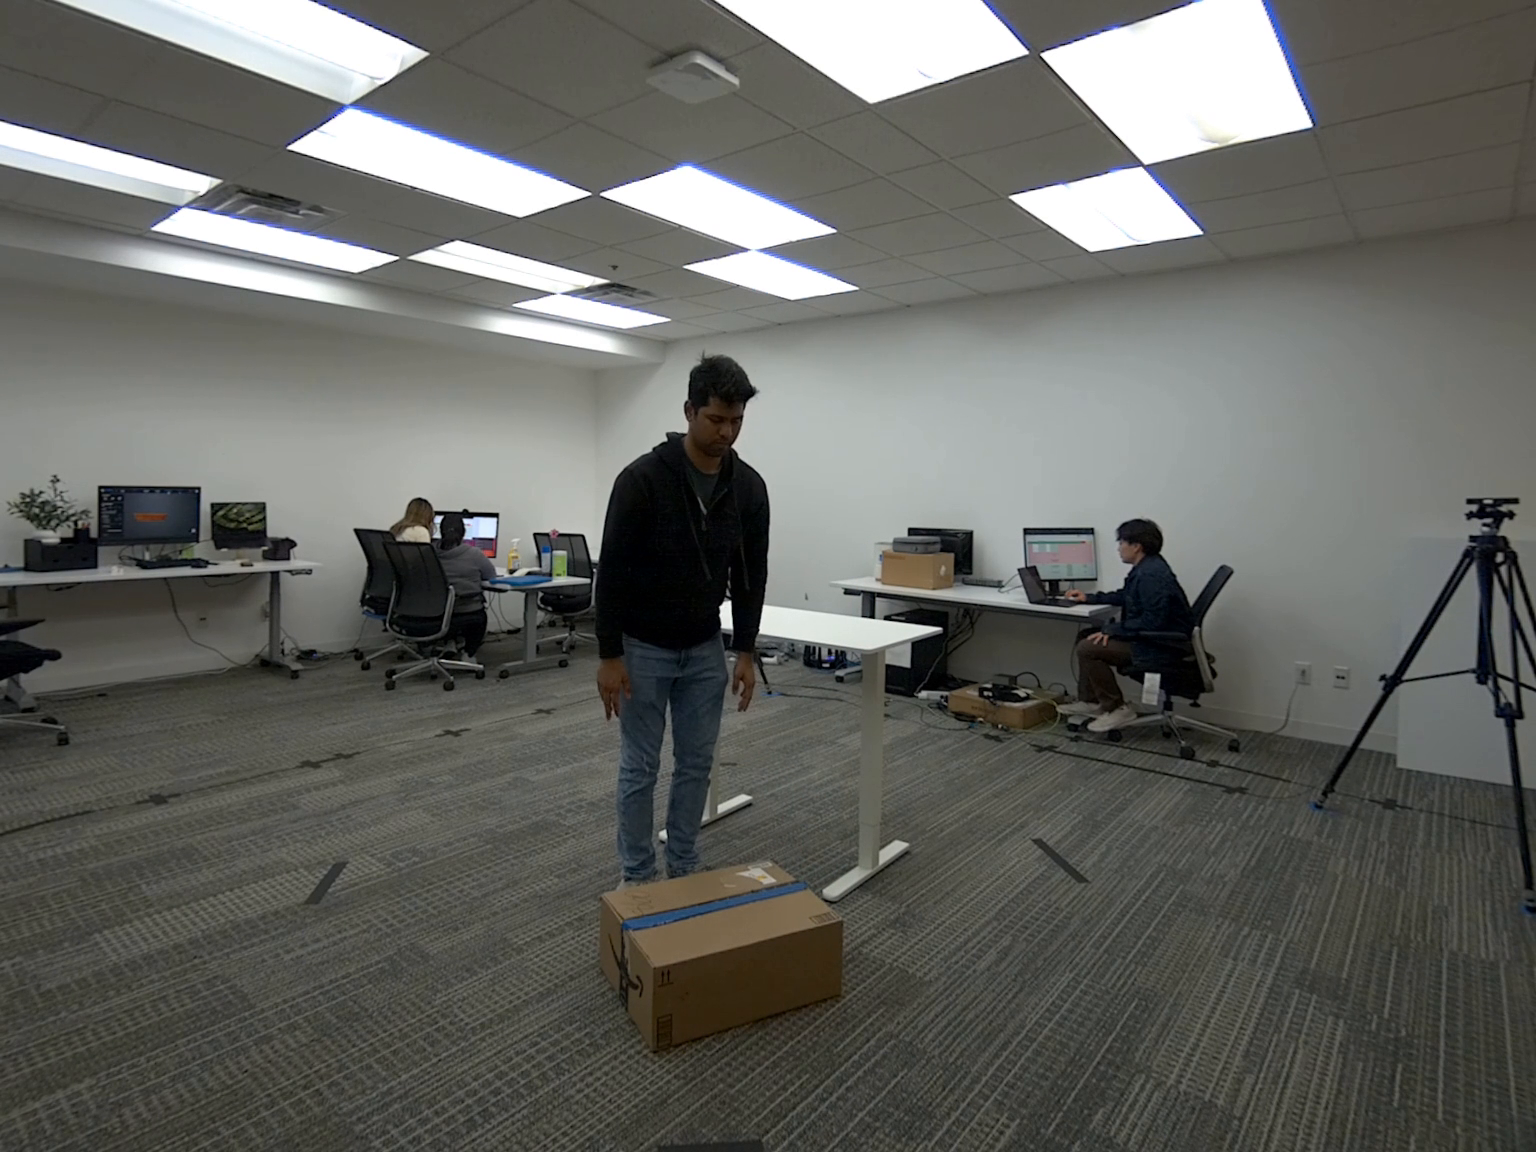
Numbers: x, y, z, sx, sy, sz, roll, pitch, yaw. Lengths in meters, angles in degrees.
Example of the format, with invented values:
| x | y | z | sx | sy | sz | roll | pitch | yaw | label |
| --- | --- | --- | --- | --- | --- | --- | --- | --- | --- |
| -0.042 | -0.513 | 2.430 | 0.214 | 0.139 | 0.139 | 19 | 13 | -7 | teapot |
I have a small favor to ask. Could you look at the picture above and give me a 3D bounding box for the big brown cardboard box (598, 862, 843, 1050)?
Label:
| x | y | z | sx | sy | sz | roll | pitch | yaw | label |
| --- | --- | --- | --- | --- | --- | --- | --- | --- | --- |
| -0.140 | 1.029 | 2.394 | 0.574 | 0.232 | 0.430 | -3 | 7 | -29 | big brown cardboard box |
